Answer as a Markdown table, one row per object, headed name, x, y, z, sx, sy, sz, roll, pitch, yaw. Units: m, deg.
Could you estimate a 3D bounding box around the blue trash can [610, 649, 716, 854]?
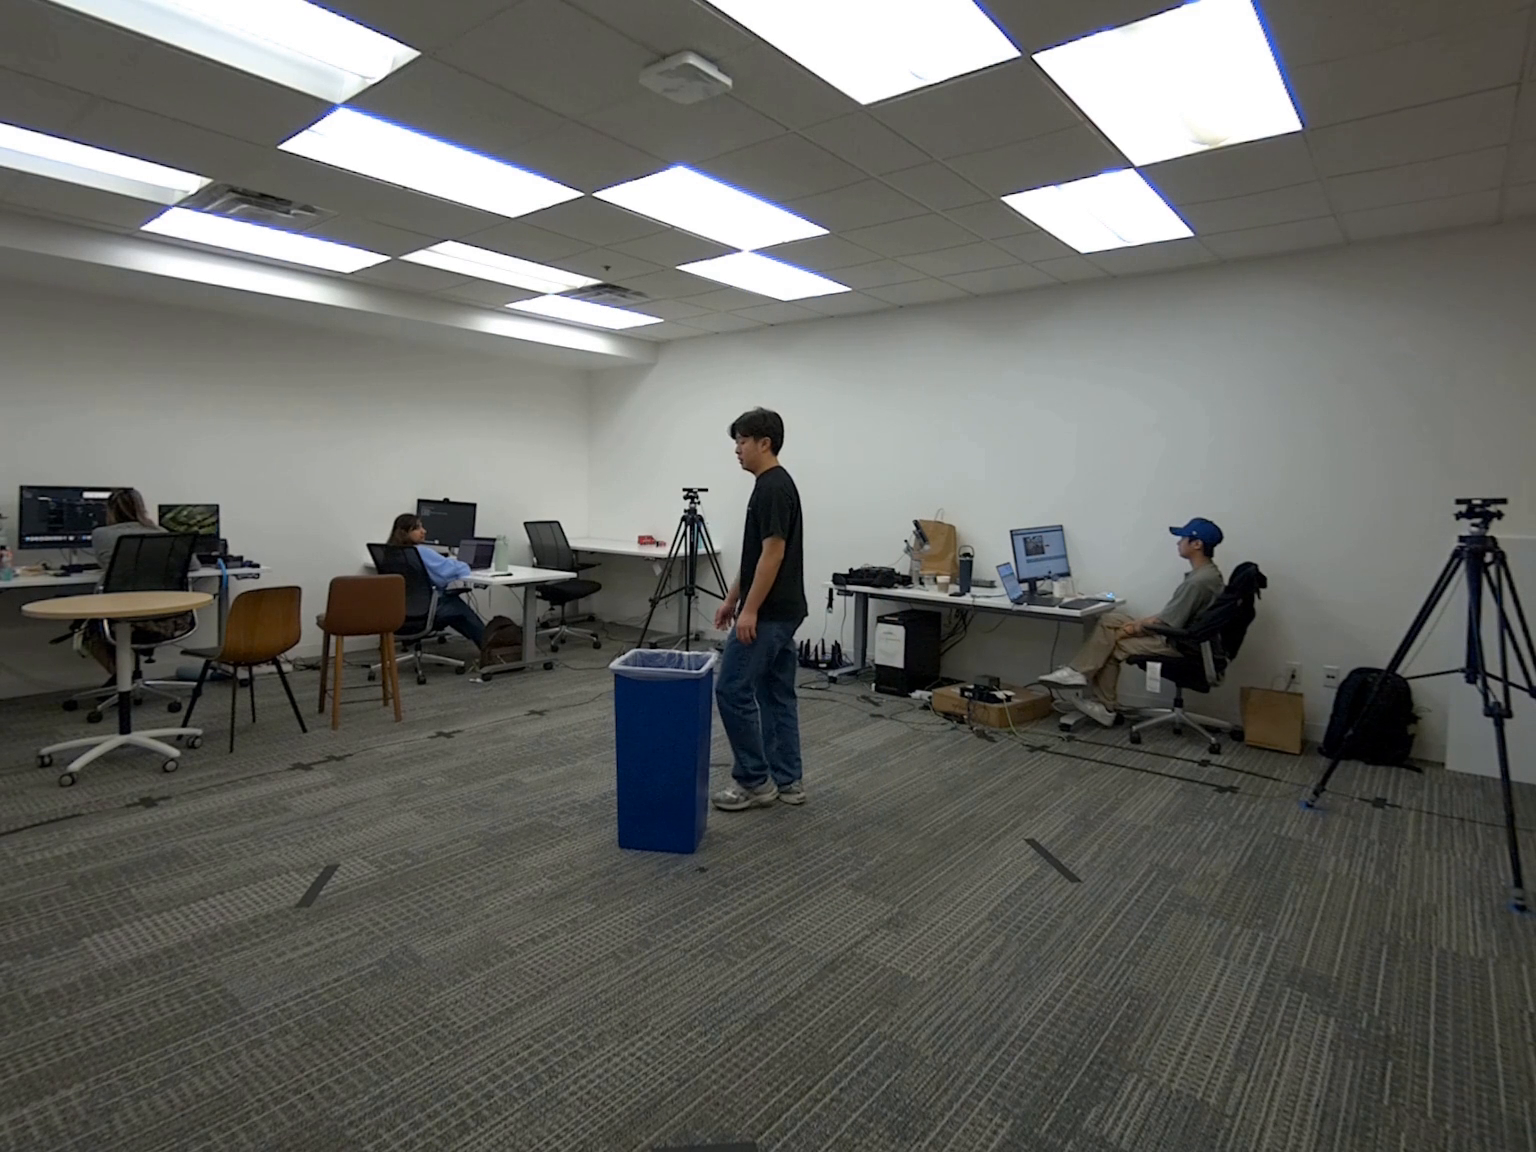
| name | x | y | z | sx | sy | sz | roll | pitch | yaw |
| --- | --- | --- | --- | --- | --- | --- | --- | --- | --- |
| blue trash can | -0.426 | 0.680 | 3.390 | 0.382 | 0.711 | 0.372 | 2 | 4 | 7 |
